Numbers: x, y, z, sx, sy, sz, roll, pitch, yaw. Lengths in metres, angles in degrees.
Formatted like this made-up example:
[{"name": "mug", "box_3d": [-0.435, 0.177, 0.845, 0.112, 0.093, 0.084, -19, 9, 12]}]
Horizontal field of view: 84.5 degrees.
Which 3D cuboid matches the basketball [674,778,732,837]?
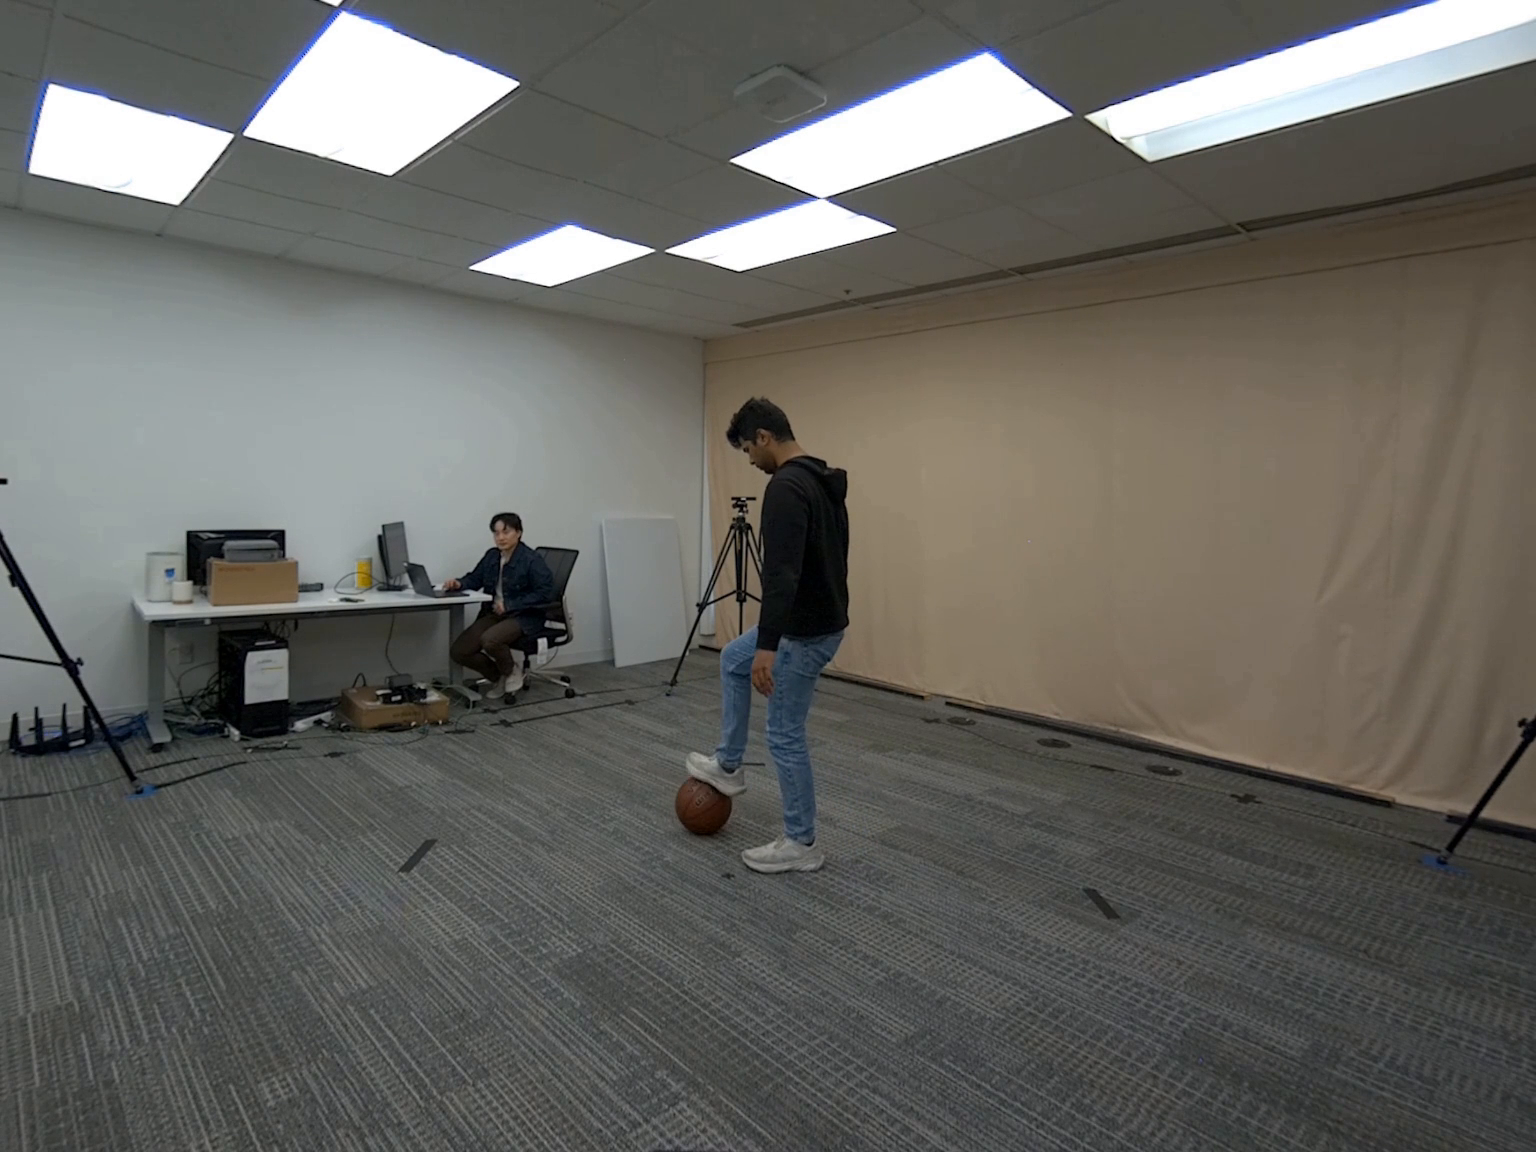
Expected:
[{"name": "basketball", "box_3d": [-0.270, 0.948, 3.510, 0.236, 0.235, 0.237, 1, 4, -1]}]
